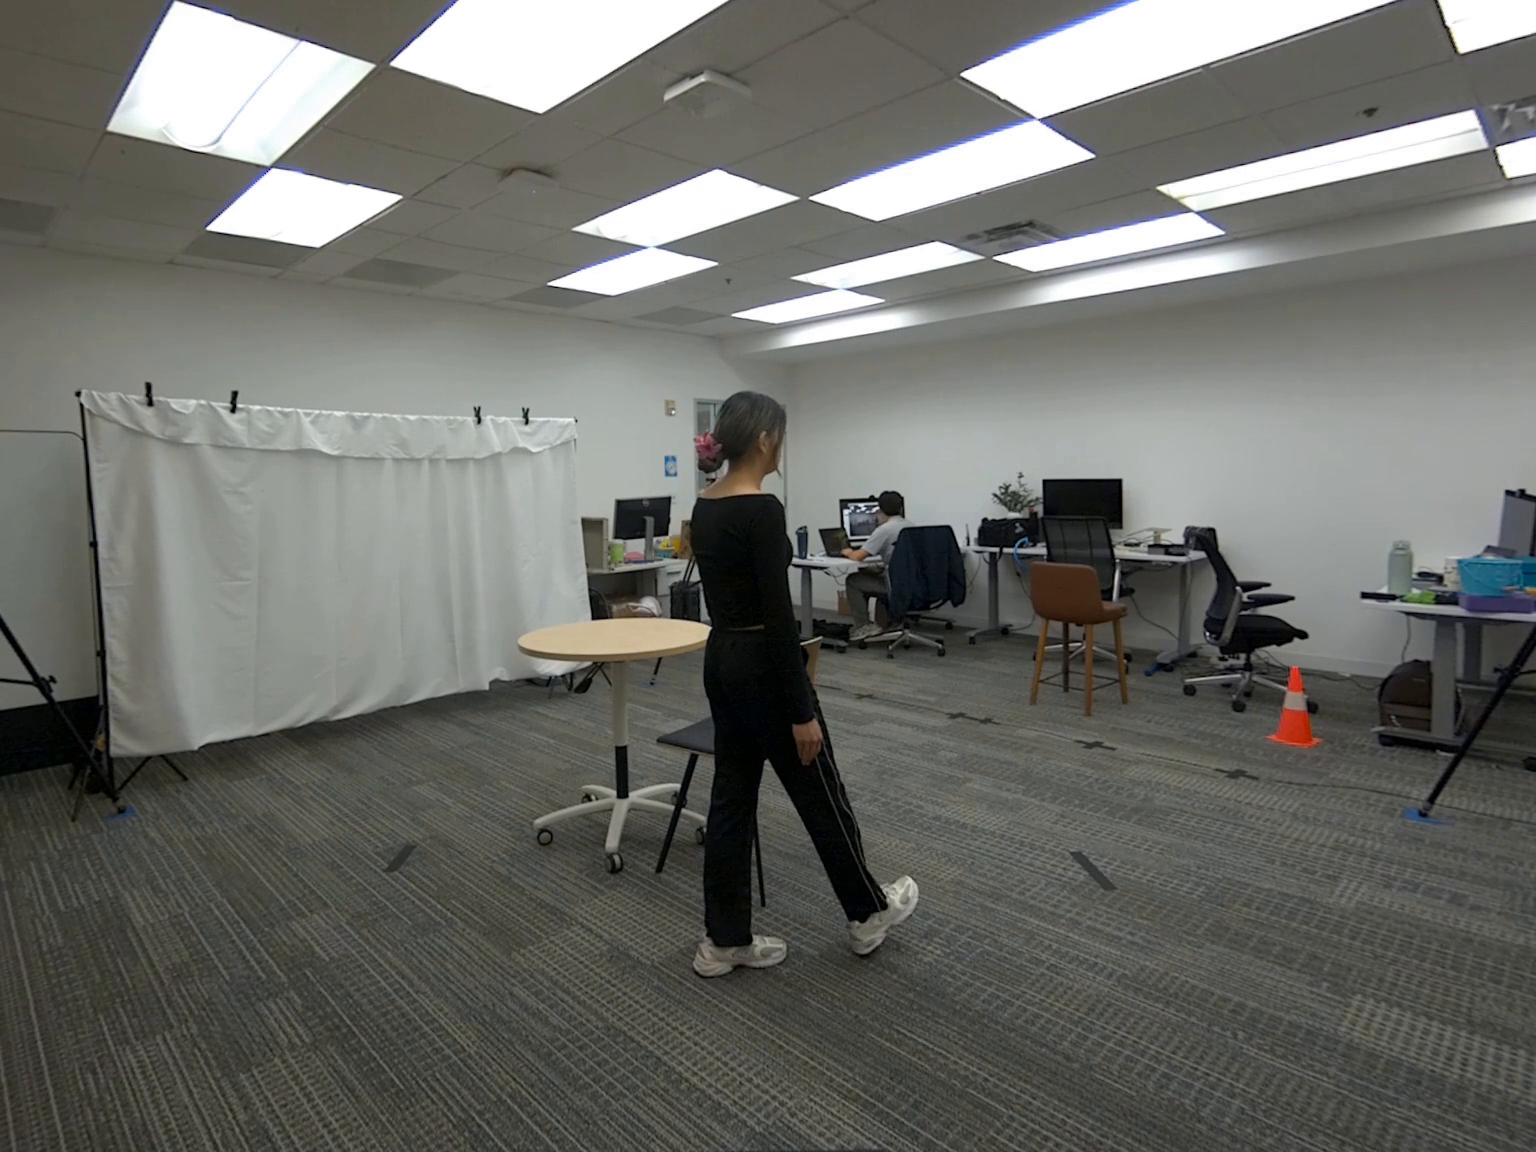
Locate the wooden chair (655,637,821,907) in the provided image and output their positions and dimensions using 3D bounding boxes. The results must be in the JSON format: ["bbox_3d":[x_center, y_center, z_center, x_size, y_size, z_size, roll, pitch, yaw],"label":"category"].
[{"bbox_3d":[-0.097,0.620,3.064,0.539,0.872,0.466,8,8,33],"label":"wooden chair"}]
